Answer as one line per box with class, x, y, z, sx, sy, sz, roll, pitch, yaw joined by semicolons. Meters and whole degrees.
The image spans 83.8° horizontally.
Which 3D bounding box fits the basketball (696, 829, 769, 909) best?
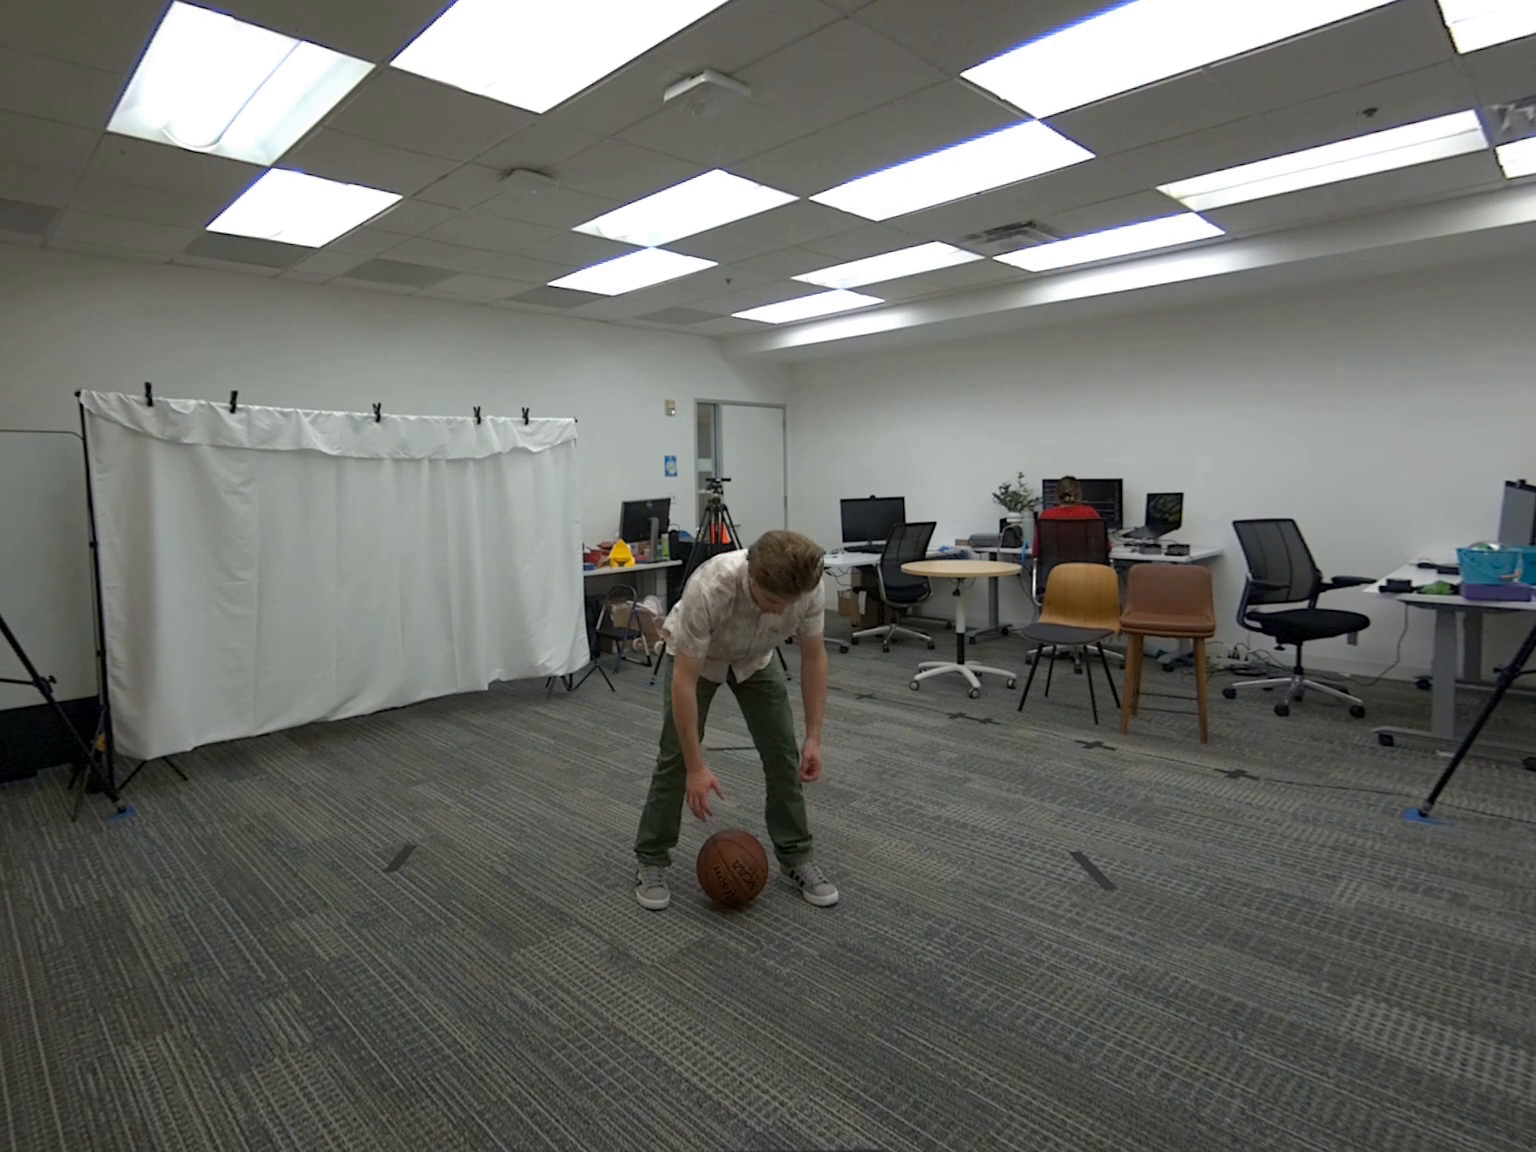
basketball;-0.110;0.952;2.813;0.236;0.235;0.237;-1;5;-2
